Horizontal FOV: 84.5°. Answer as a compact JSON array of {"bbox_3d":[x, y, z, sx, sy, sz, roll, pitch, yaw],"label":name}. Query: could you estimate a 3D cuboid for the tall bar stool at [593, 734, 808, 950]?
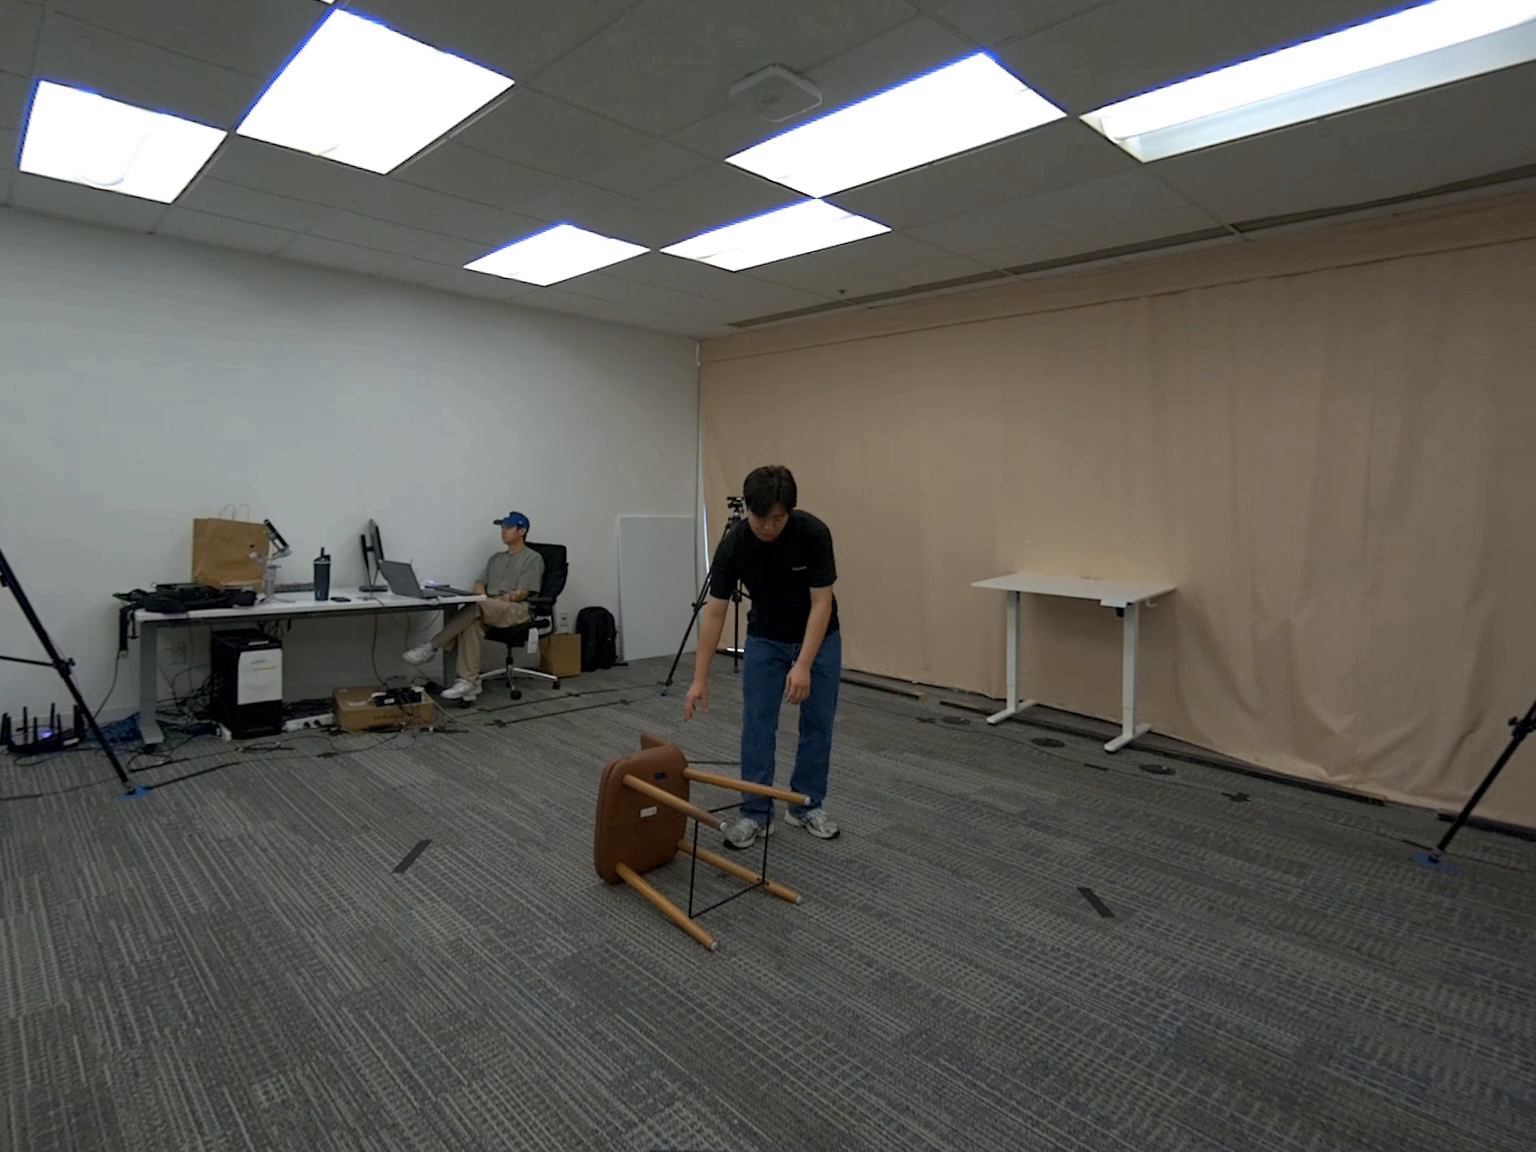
[{"bbox_3d":[-0.344,0.892,3.025,0.914,0.455,0.456,9,7,43],"label":"tall bar stool"}]
